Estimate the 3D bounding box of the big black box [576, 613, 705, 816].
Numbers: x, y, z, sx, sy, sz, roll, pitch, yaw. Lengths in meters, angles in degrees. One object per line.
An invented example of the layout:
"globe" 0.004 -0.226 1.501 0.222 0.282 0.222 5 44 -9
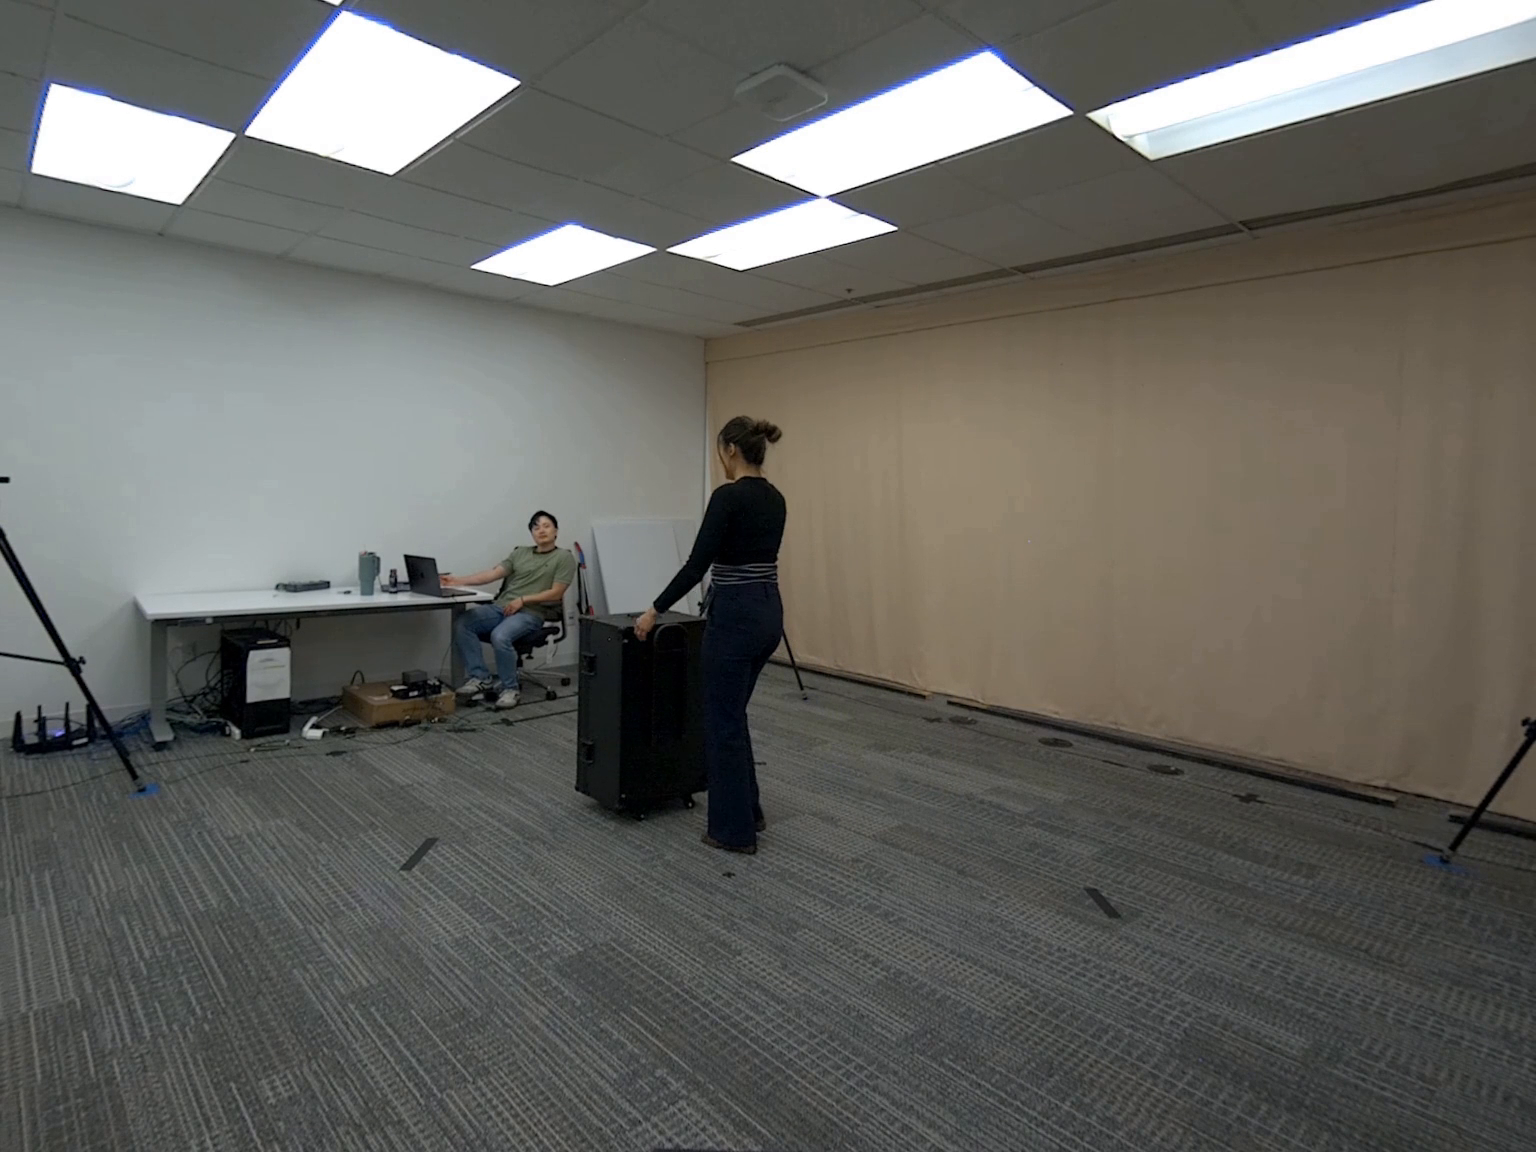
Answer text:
"big black box" -0.553 0.611 3.762 0.509 0.859 0.406 -2 6 -41
